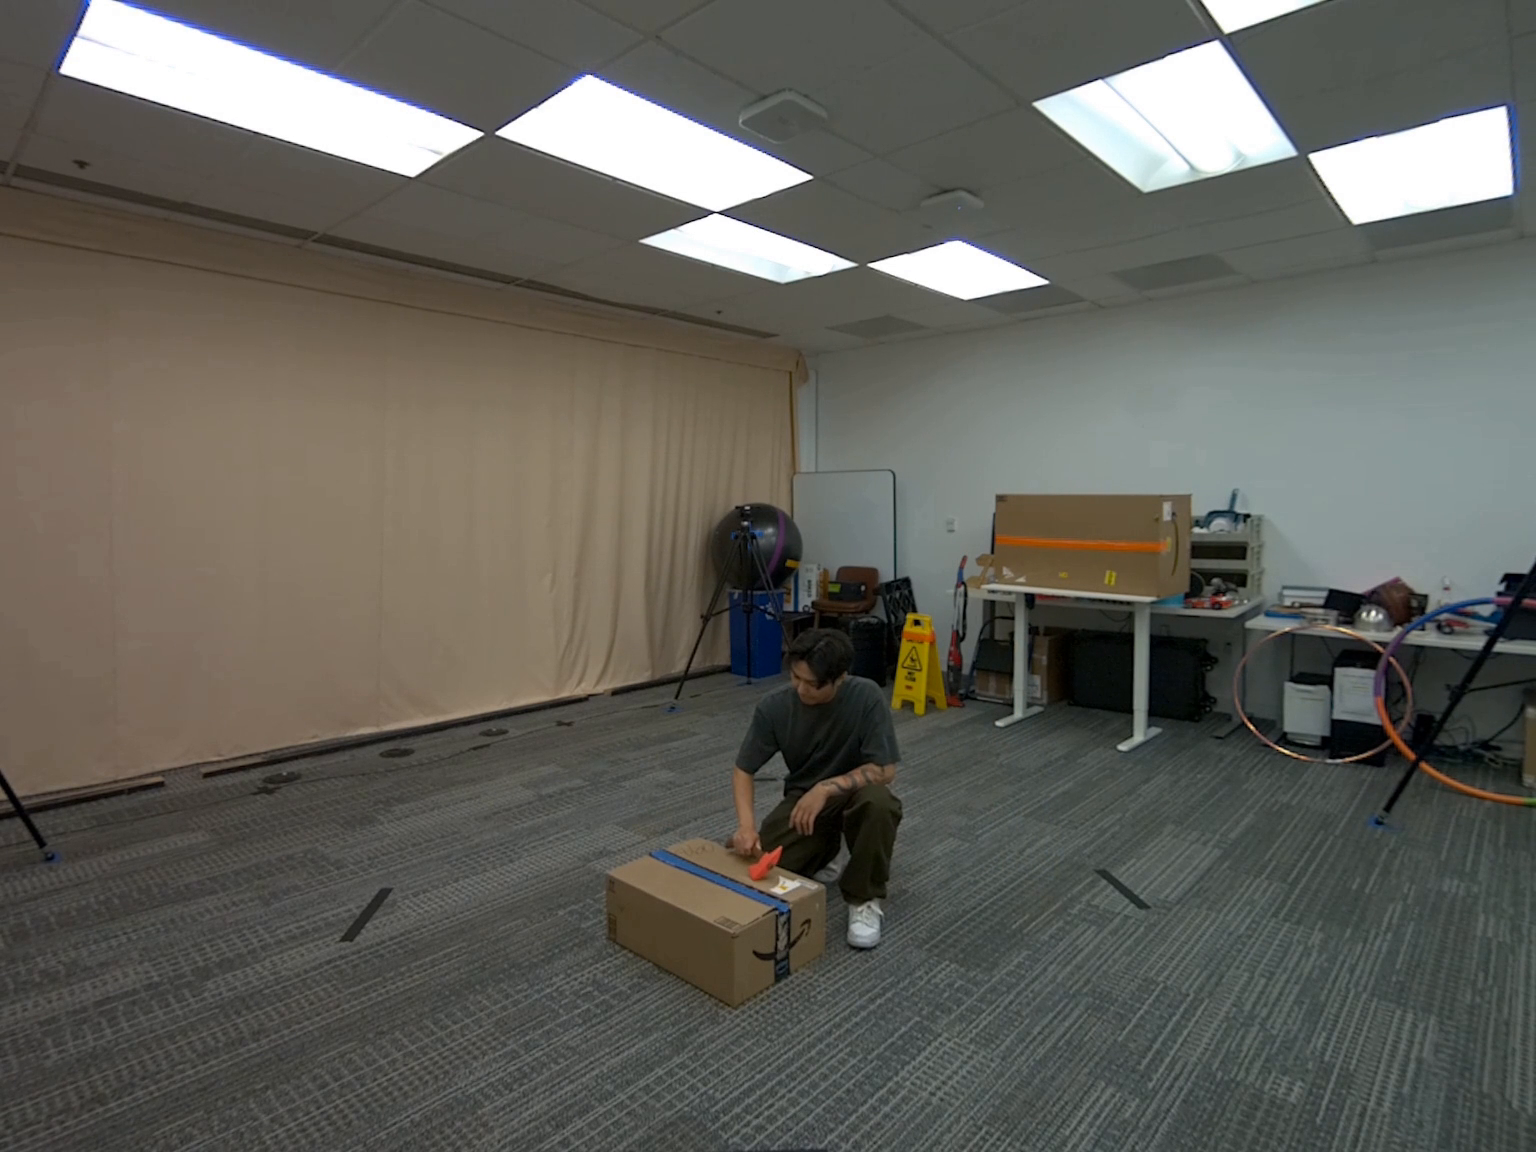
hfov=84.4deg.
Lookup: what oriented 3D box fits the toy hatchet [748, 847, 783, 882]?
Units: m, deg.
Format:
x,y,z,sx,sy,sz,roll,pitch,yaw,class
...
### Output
x,y,z,sx,sy,sz,roll,pitch,yaw,class
-0.065,0.921,2.745,0.276,0.029,0.130,-16,32,52,toy hatchet
